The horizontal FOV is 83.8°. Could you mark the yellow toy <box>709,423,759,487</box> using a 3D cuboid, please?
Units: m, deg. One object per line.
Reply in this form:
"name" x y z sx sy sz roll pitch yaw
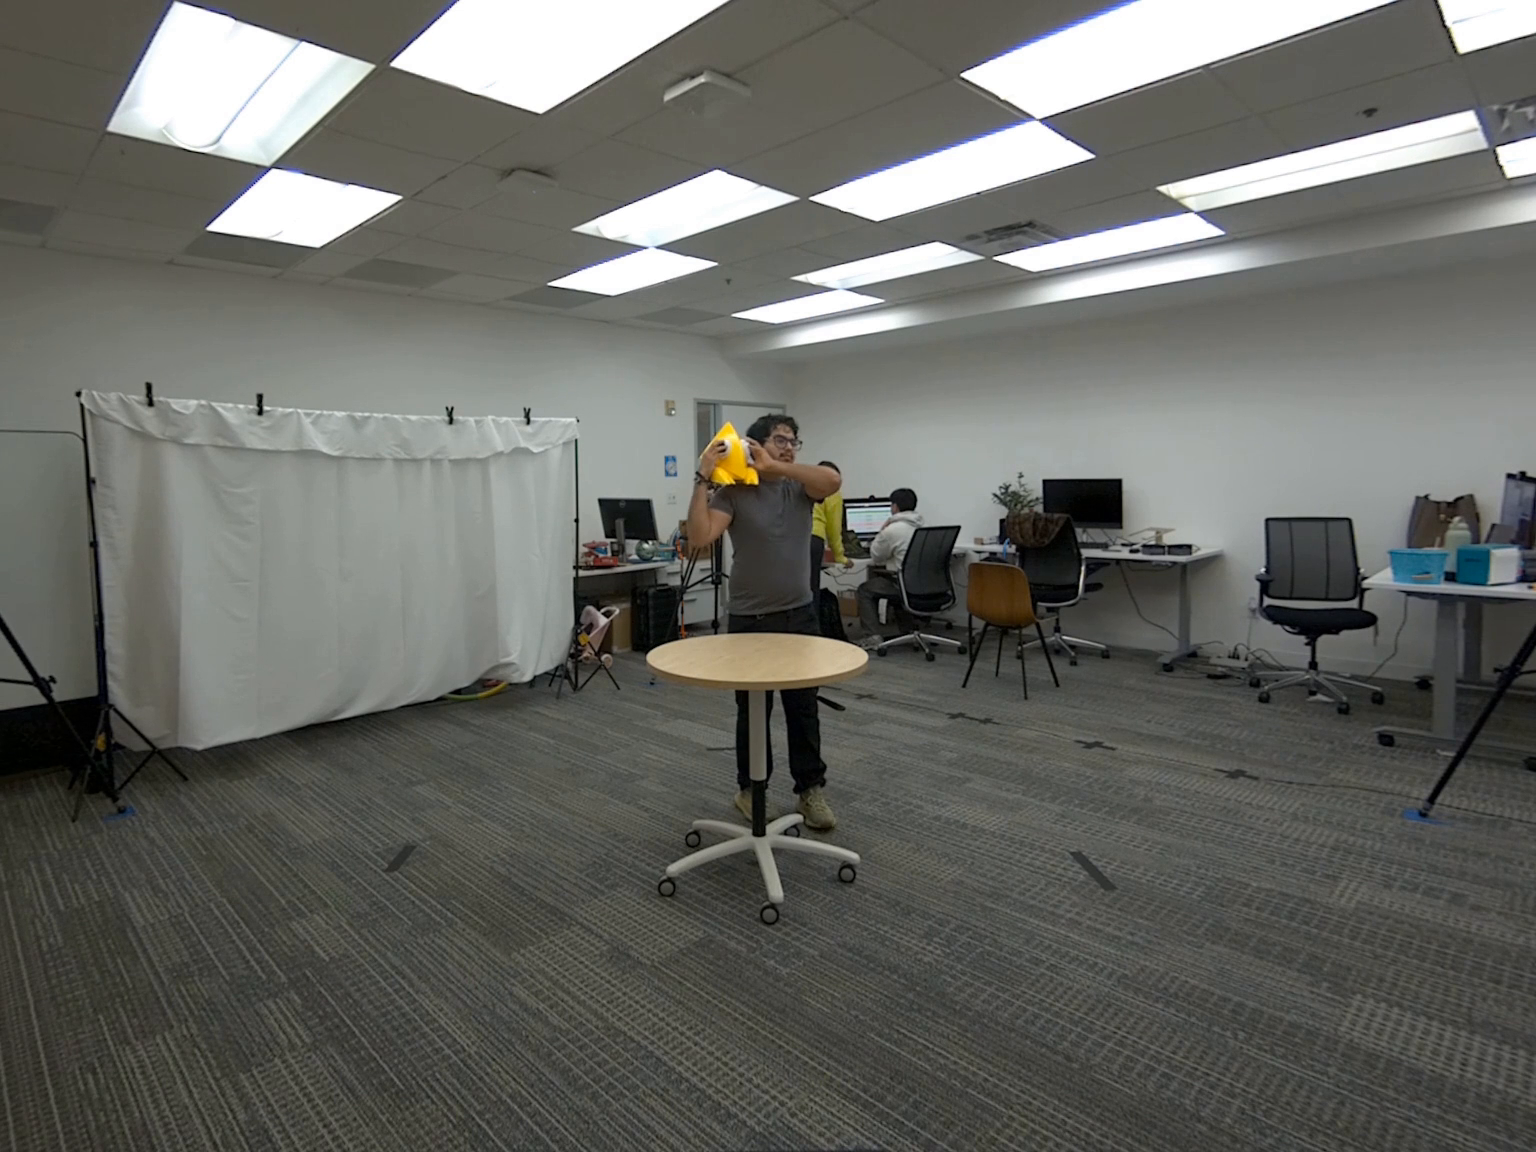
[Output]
"yellow toy" -0.127 -0.490 3.377 0.199 0.229 0.200 -1 13 -33
